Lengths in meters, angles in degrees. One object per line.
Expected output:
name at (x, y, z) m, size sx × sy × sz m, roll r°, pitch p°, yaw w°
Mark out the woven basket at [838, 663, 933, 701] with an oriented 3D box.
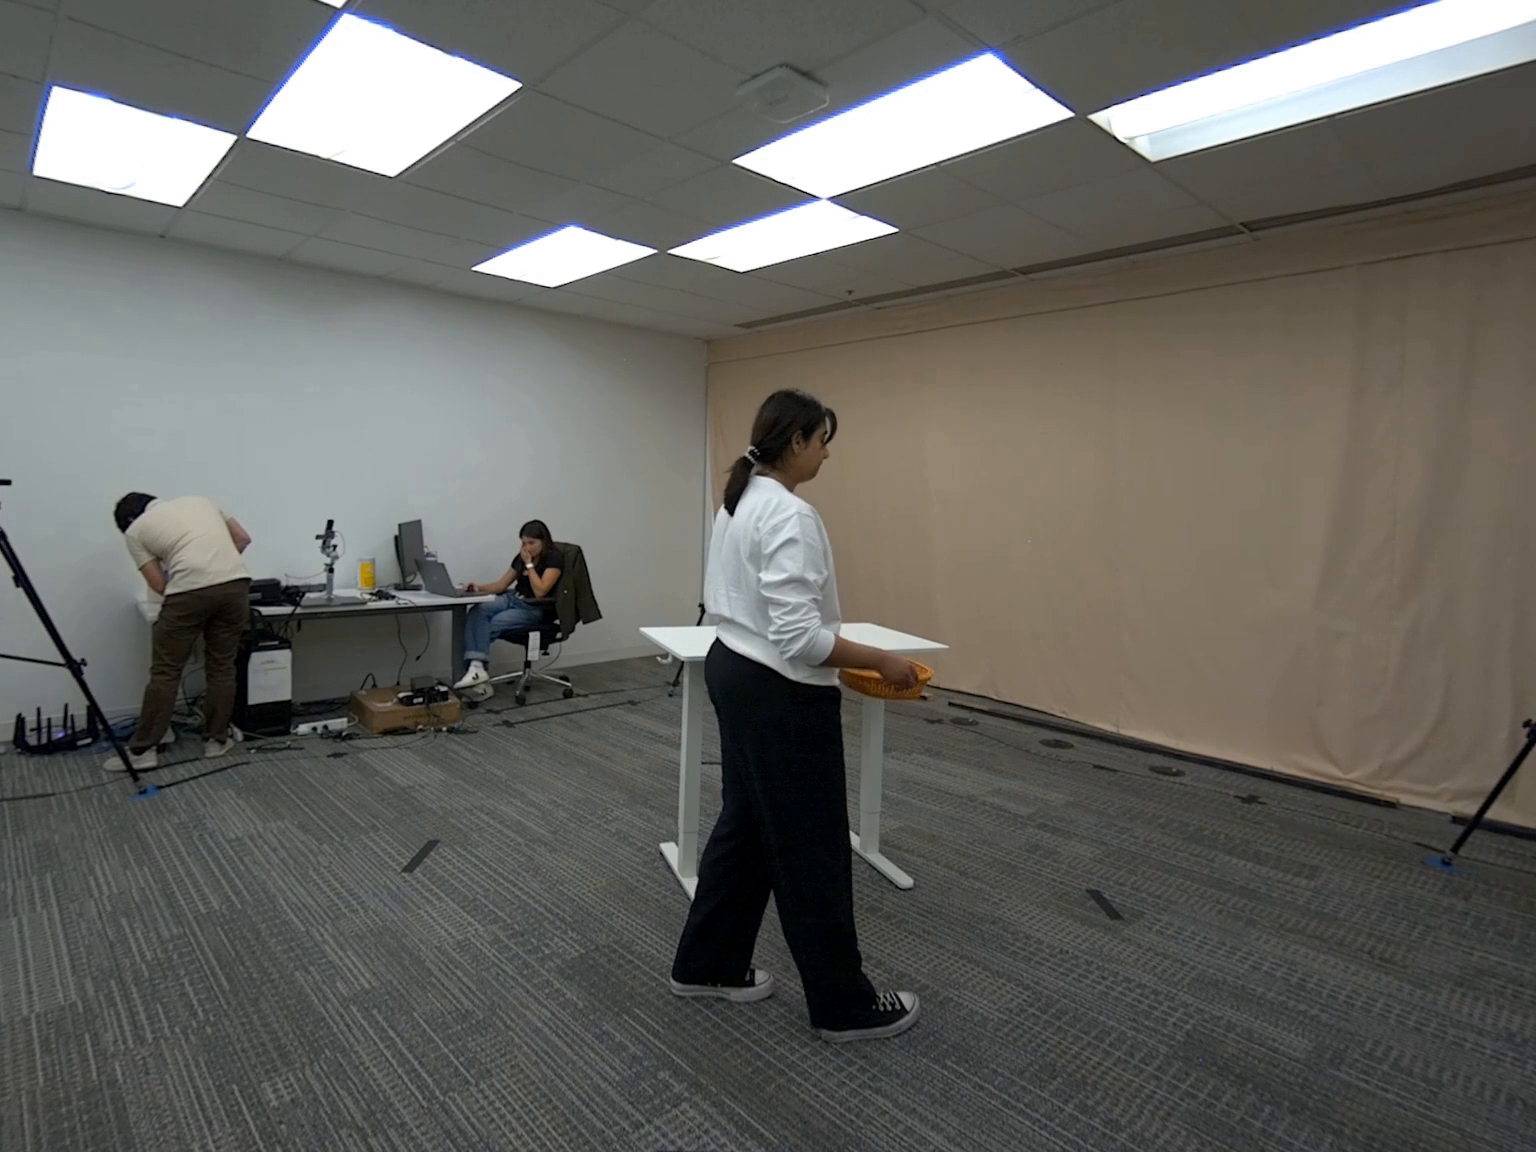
woven basket at (0.298, 0.286, 2.363) m, size 0.248 × 0.073 × 0.358 m, roll -1°, pitch 9°, yaw -21°
